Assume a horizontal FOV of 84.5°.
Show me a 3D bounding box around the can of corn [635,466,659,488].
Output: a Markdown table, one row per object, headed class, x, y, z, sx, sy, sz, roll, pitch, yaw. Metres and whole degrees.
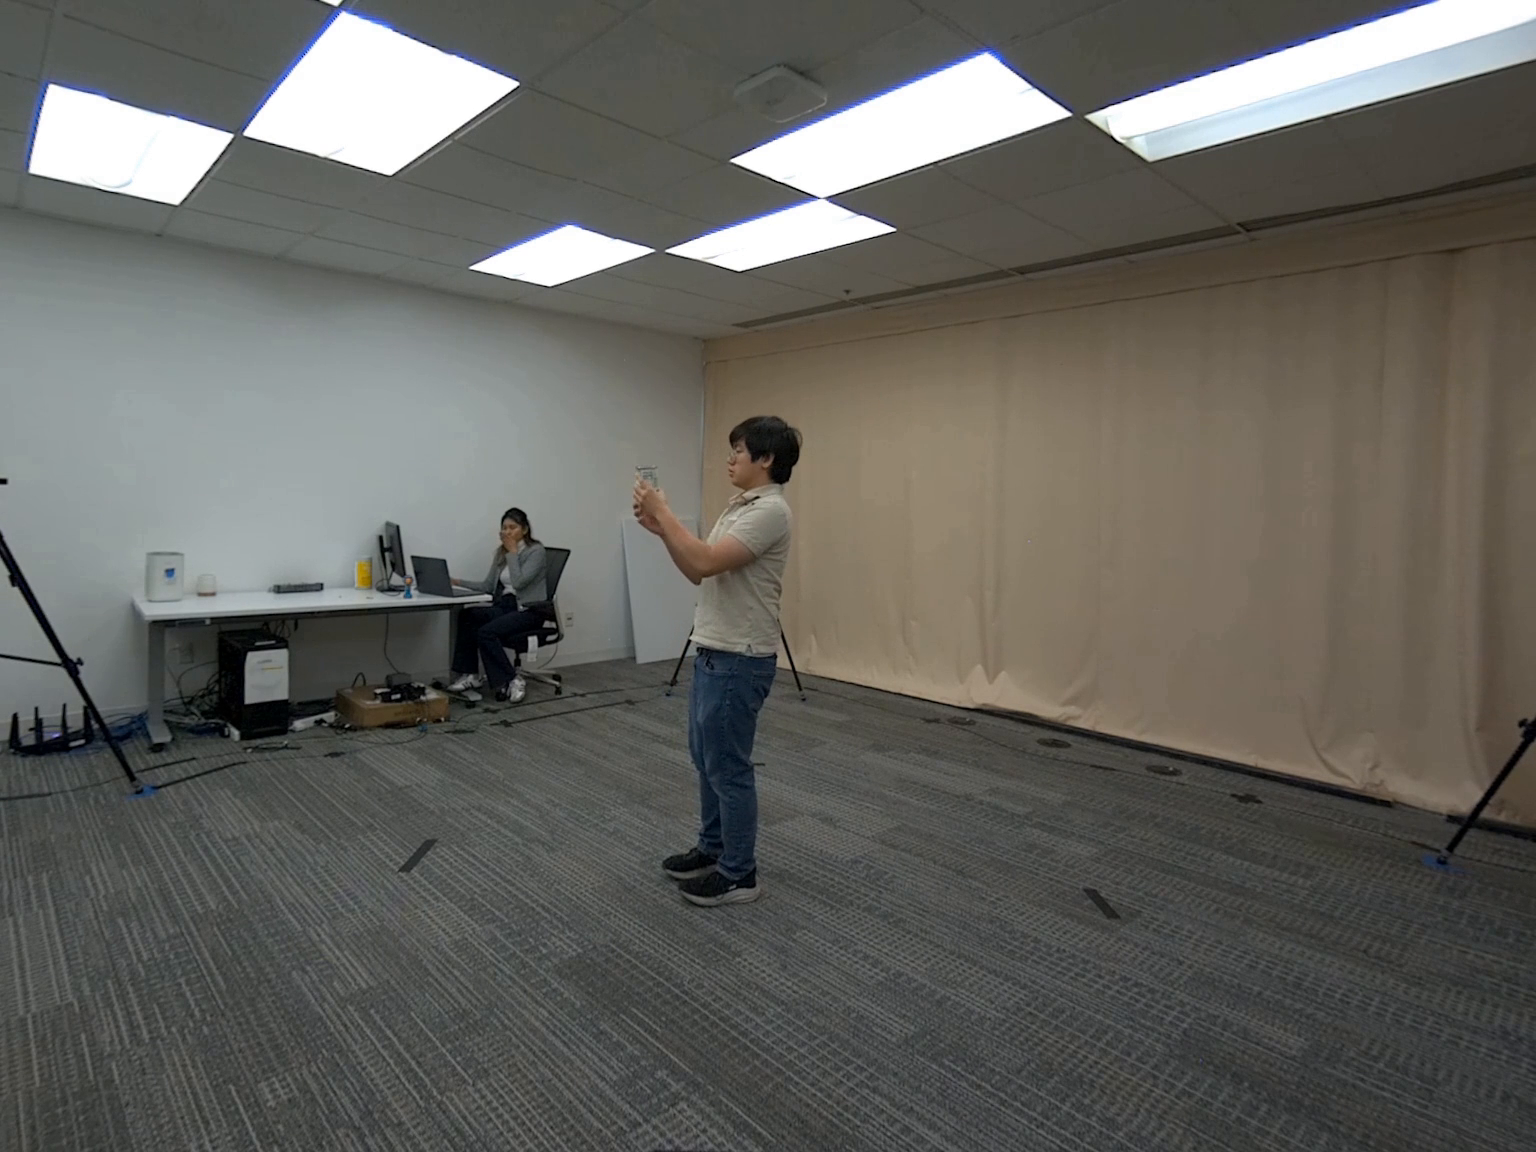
| class | x | y | z | sx | sy | sz | roll | pitch | yaw |
| --- | --- | --- | --- | --- | --- | --- | --- | --- | --- |
| can of corn | -0.427 | -0.318 | 2.858 | 0.074 | 0.110 | 0.075 | 1 | 13 | -2 |
